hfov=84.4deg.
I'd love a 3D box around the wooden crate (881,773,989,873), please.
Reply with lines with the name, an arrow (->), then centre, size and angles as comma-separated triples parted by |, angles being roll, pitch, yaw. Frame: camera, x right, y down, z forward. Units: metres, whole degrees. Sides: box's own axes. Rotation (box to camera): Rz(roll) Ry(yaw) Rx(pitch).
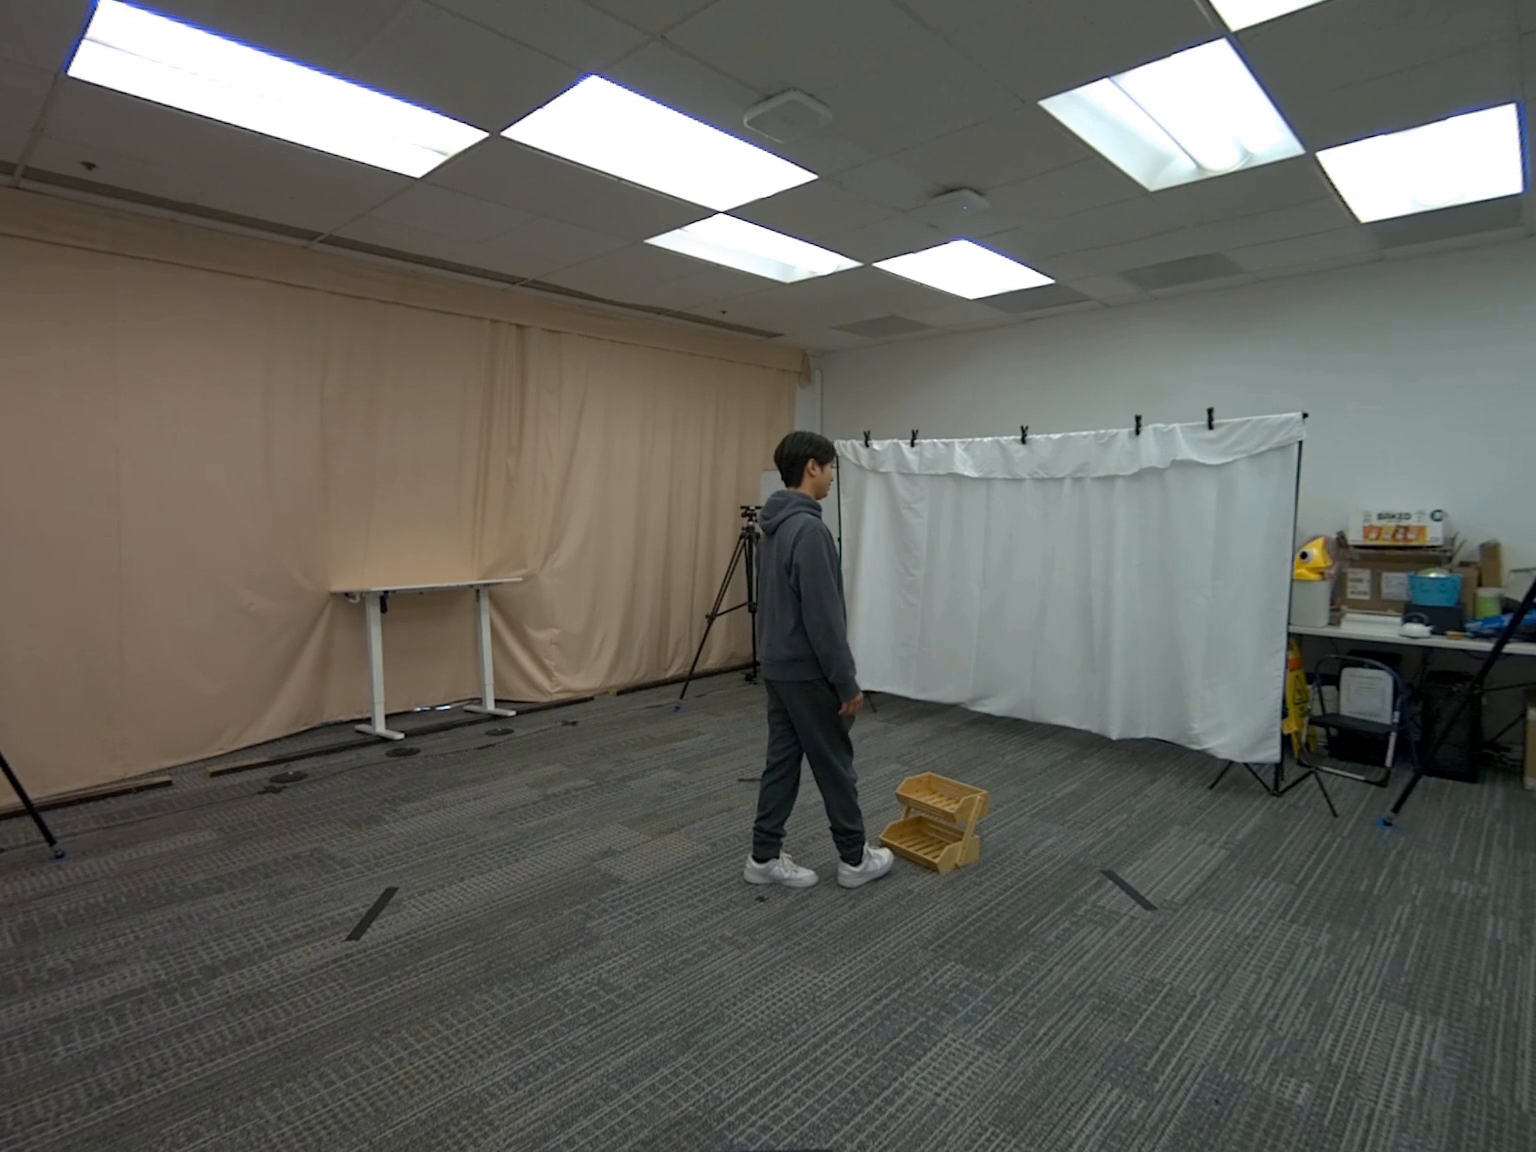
wooden crate -> 0.664, 0.974, 3.376 | 0.293, 0.273, 0.335 | -2, 4, -37
